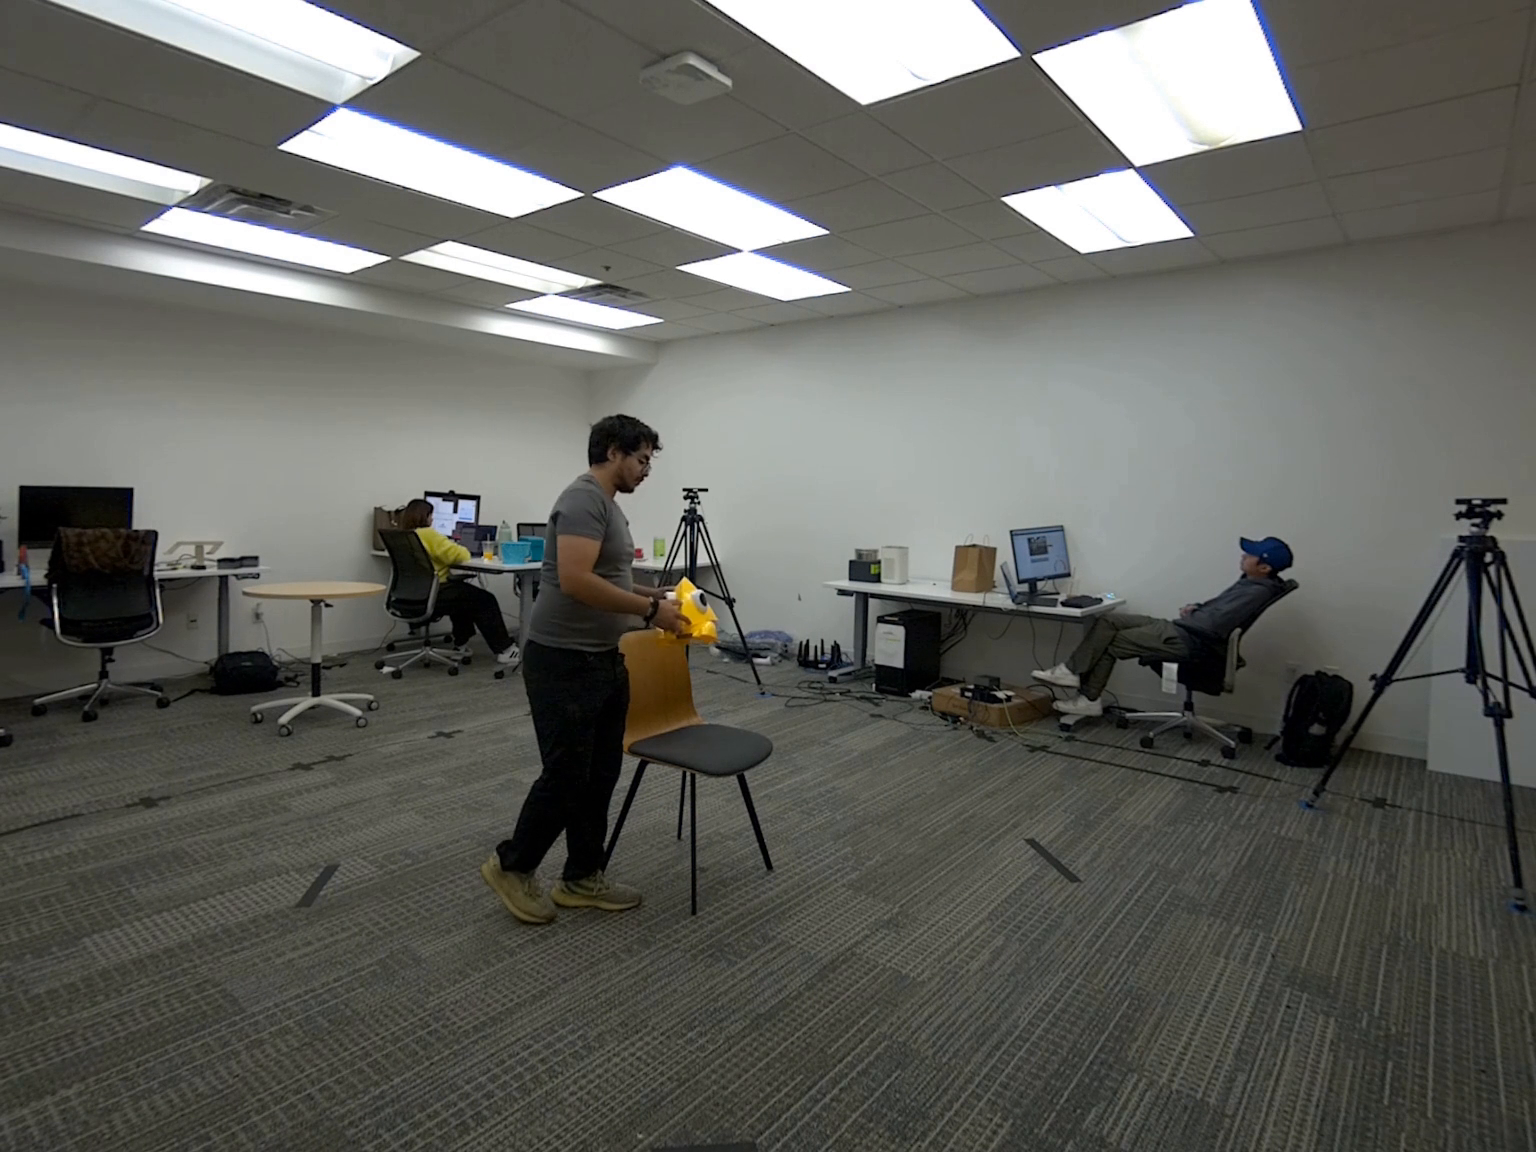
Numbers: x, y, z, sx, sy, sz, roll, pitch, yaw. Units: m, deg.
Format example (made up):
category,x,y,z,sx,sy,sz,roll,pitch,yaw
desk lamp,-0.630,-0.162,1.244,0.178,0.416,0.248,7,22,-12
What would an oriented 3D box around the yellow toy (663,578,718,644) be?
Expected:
category,x,y,z,sx,sy,sz,roll,pitch,yaw
yellow toy,-0.292,0.103,2.791,0.205,0.235,0.189,-4,-16,1
